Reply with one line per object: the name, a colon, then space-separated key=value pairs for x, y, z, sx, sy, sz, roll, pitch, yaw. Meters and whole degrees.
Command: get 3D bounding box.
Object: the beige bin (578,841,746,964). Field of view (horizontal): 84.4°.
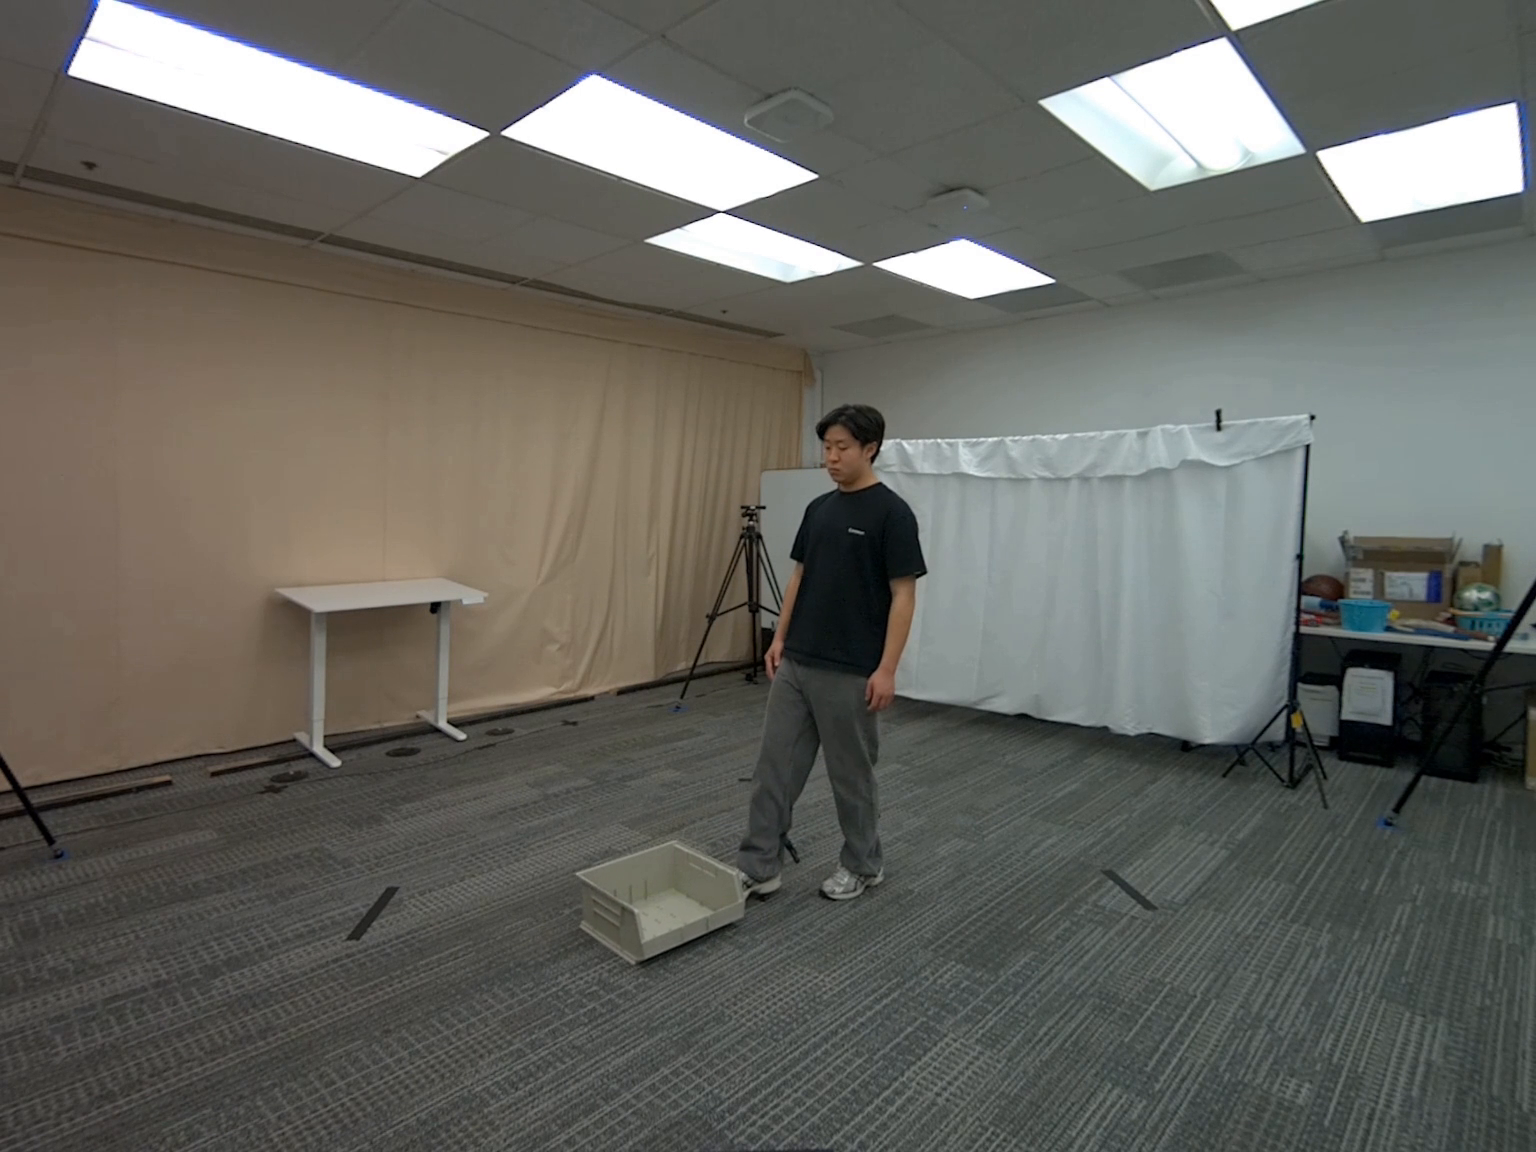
beige bin: x=-0.354 y=1.075 z=2.781 sx=0.409 sy=0.188 sz=0.390 roll=-5 pitch=5 yaw=-42
